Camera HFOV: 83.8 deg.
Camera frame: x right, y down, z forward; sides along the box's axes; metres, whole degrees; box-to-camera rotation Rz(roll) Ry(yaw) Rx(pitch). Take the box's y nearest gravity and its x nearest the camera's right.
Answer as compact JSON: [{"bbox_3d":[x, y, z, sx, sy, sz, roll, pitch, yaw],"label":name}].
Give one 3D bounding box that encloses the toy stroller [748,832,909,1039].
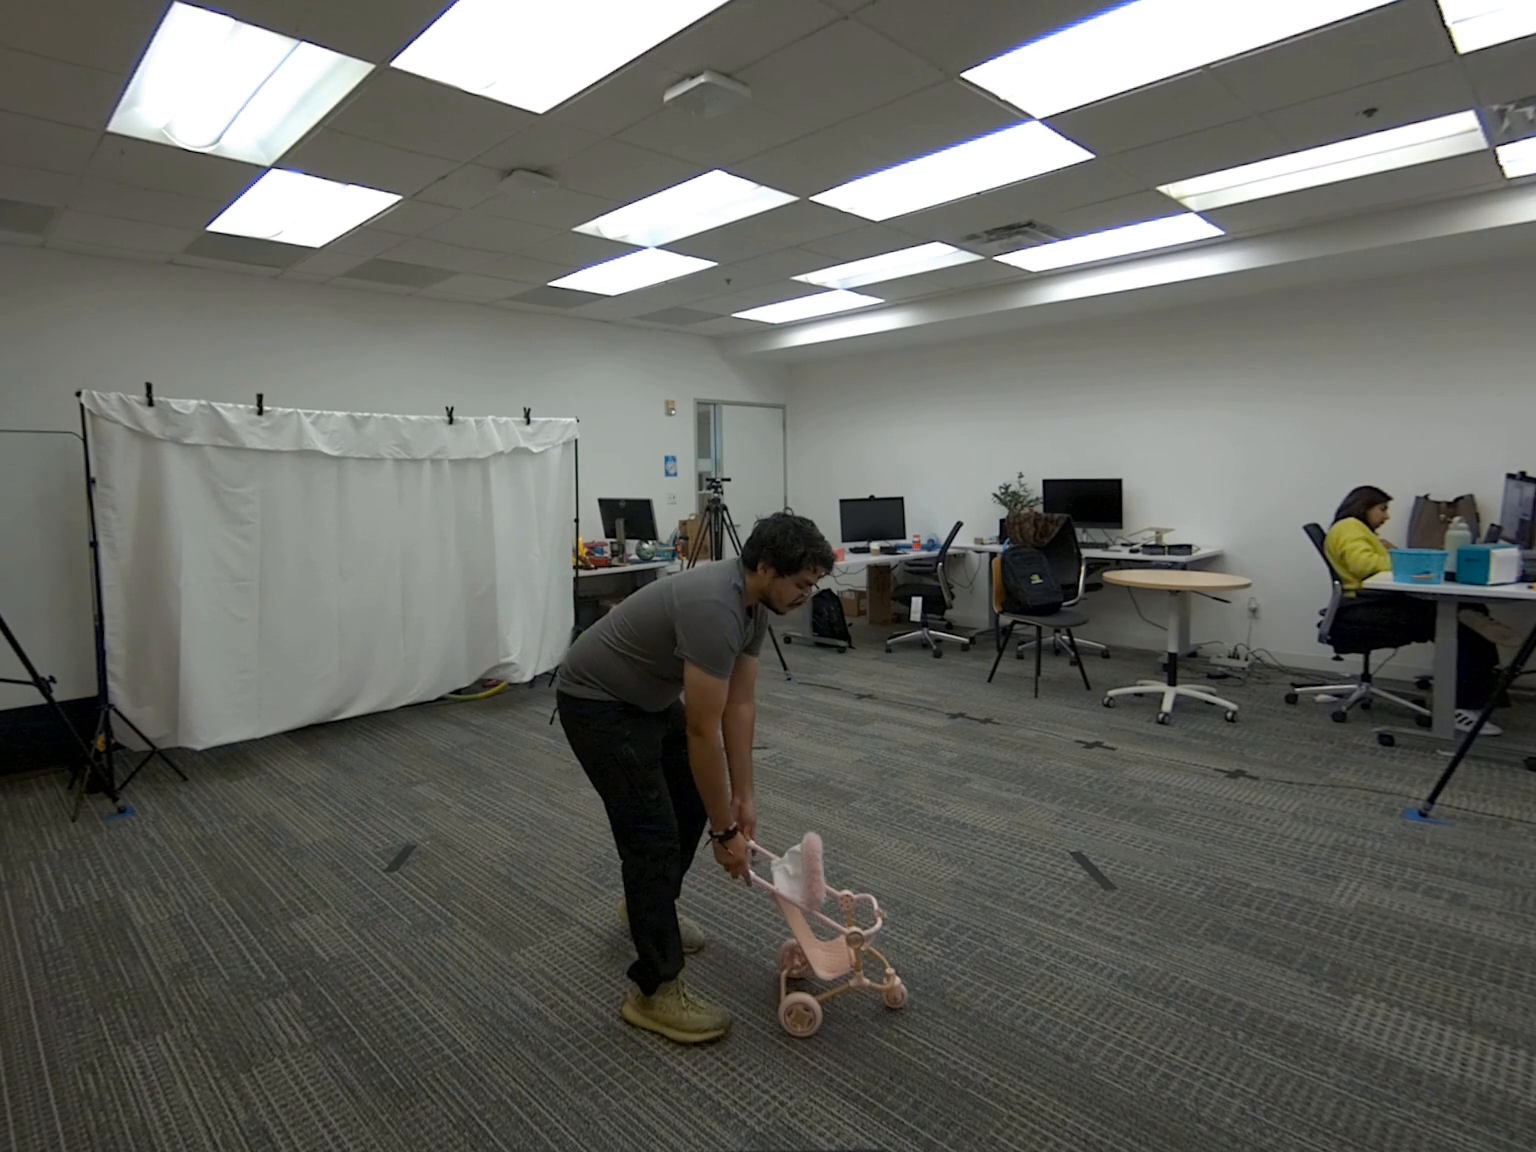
[{"bbox_3d":[0.141,0.916,2.247,0.343,0.533,0.281,-16,3,6],"label":"toy stroller"}]
